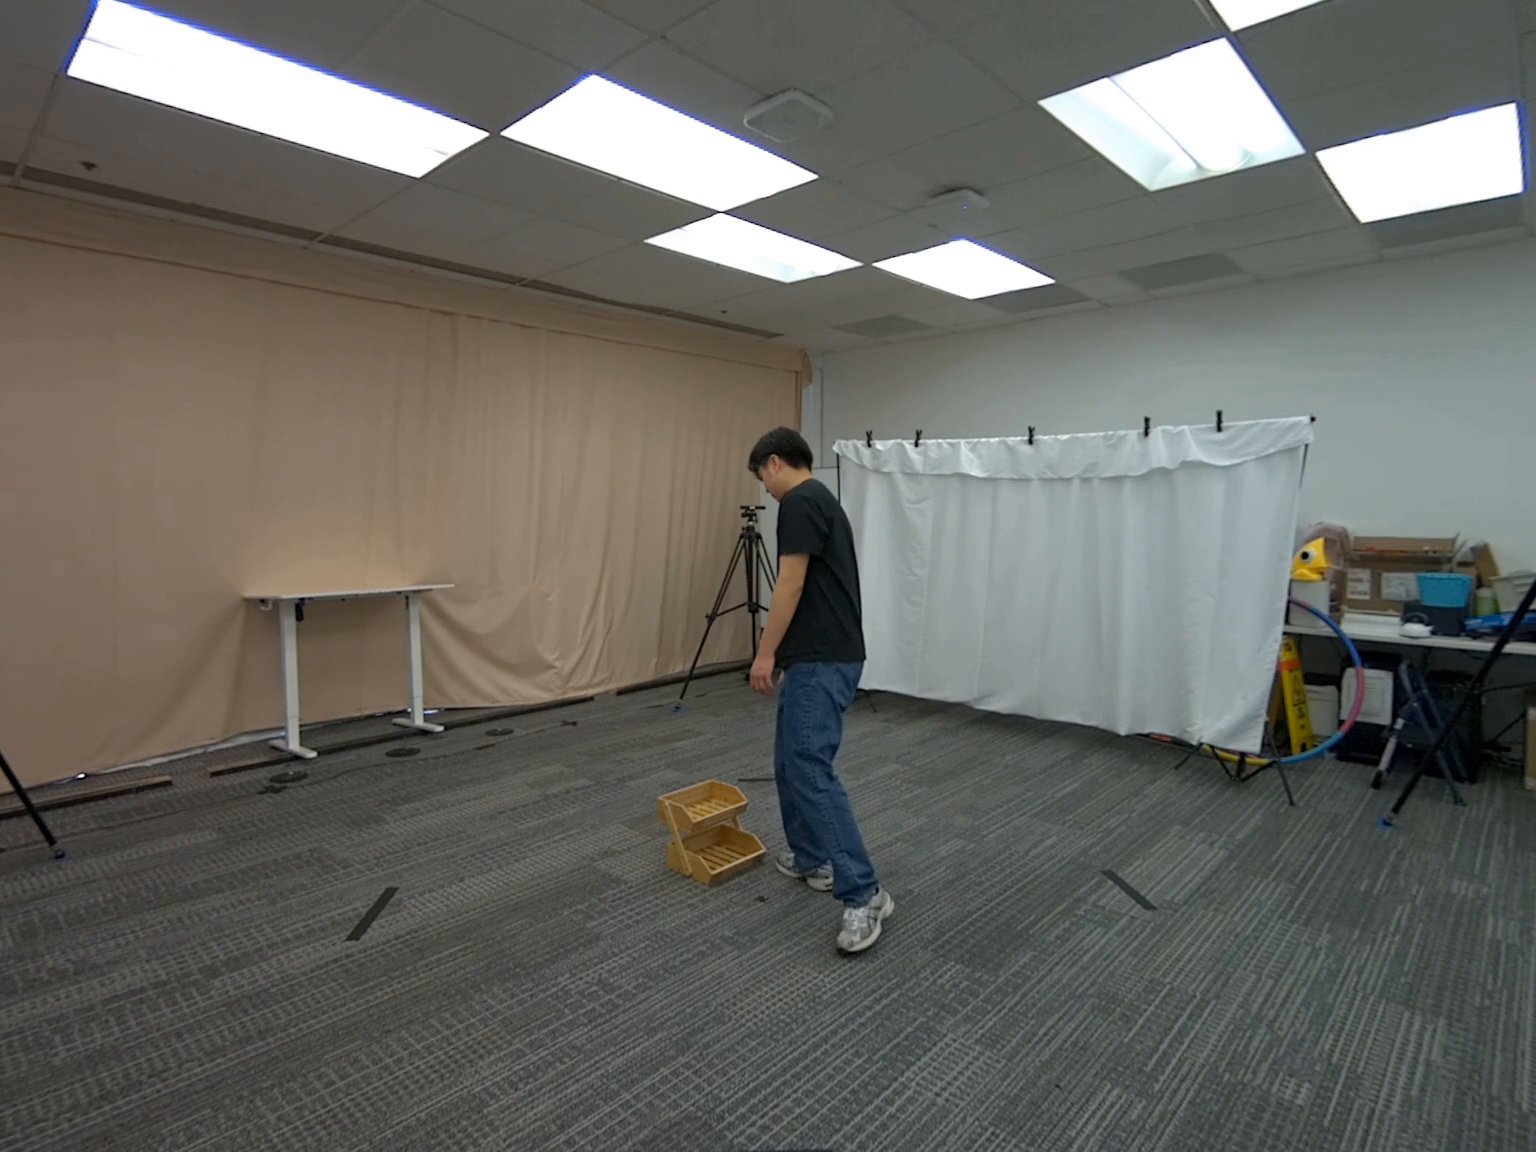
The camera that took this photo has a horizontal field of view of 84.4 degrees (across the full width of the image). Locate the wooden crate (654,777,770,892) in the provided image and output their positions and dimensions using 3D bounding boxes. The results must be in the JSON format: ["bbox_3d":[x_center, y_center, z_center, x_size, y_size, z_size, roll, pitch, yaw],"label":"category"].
[{"bbox_3d":[-0.217,0.985,3.280,0.312,0.273,0.314,3,5,44],"label":"wooden crate"}]
